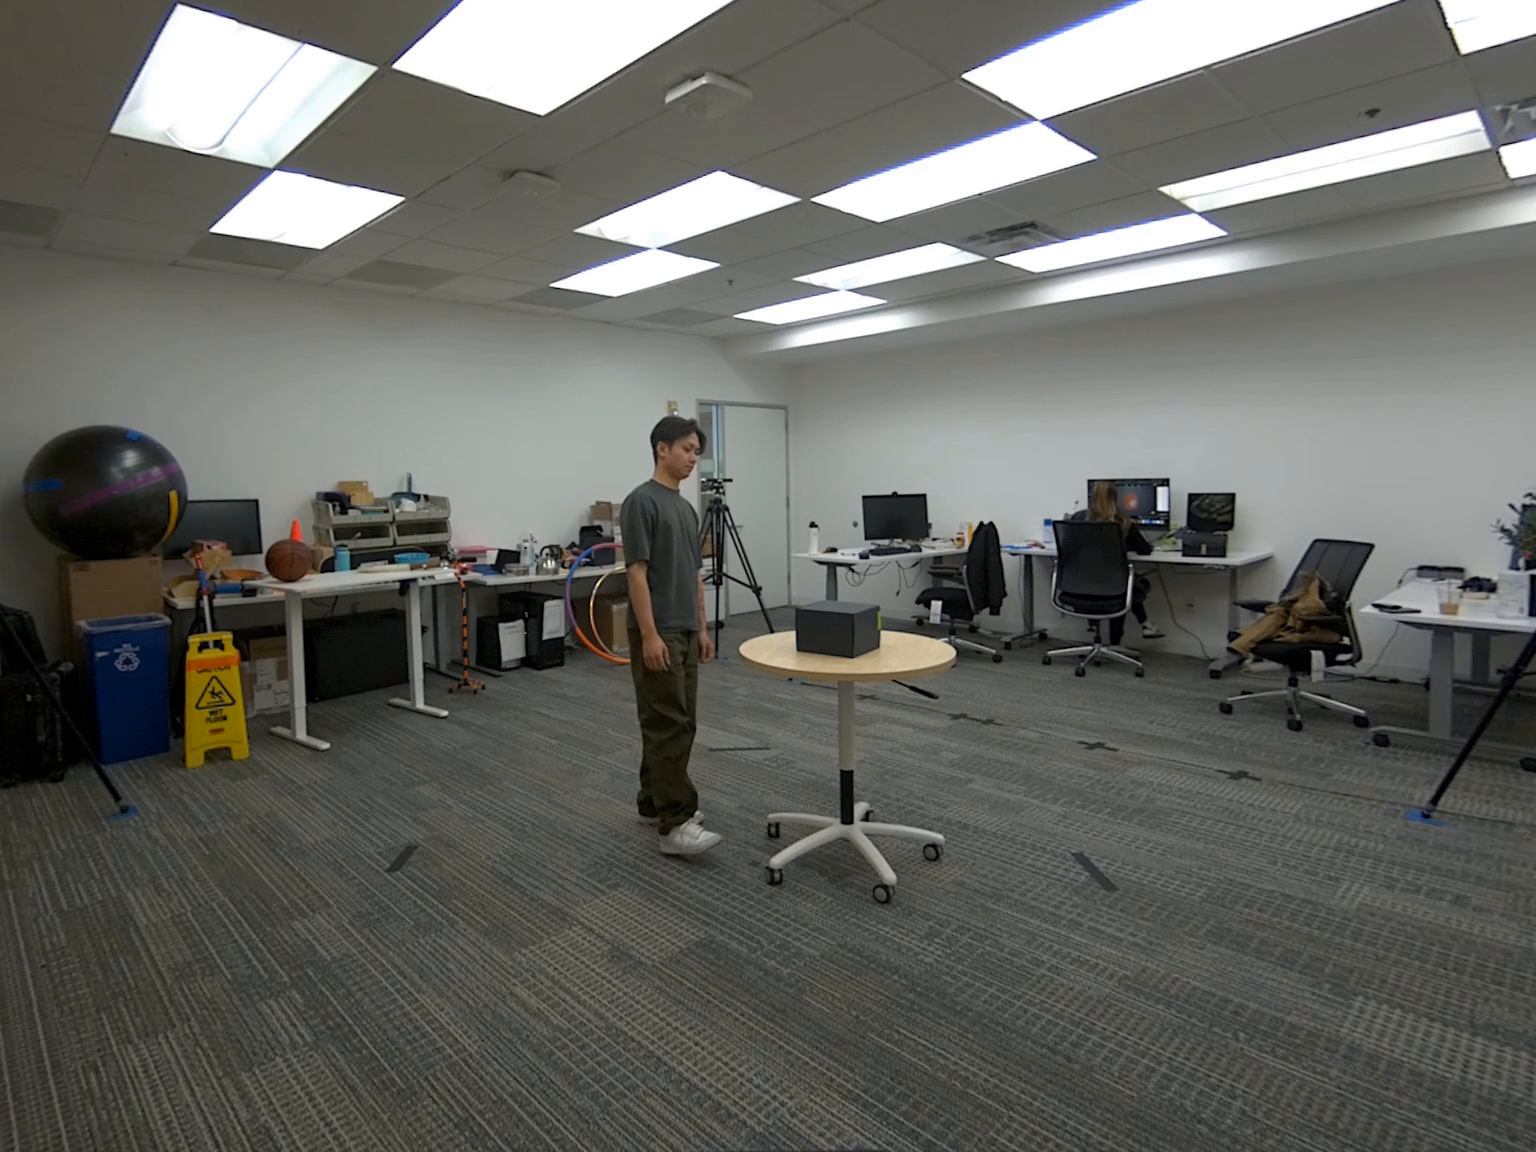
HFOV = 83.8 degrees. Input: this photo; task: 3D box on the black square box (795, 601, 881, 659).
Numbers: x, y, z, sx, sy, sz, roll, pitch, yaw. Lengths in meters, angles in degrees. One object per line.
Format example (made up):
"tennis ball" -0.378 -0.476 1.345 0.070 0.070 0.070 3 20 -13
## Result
"black square box" 0.253 0.183 3.043 0.234 0.155 0.212 3 7 34
